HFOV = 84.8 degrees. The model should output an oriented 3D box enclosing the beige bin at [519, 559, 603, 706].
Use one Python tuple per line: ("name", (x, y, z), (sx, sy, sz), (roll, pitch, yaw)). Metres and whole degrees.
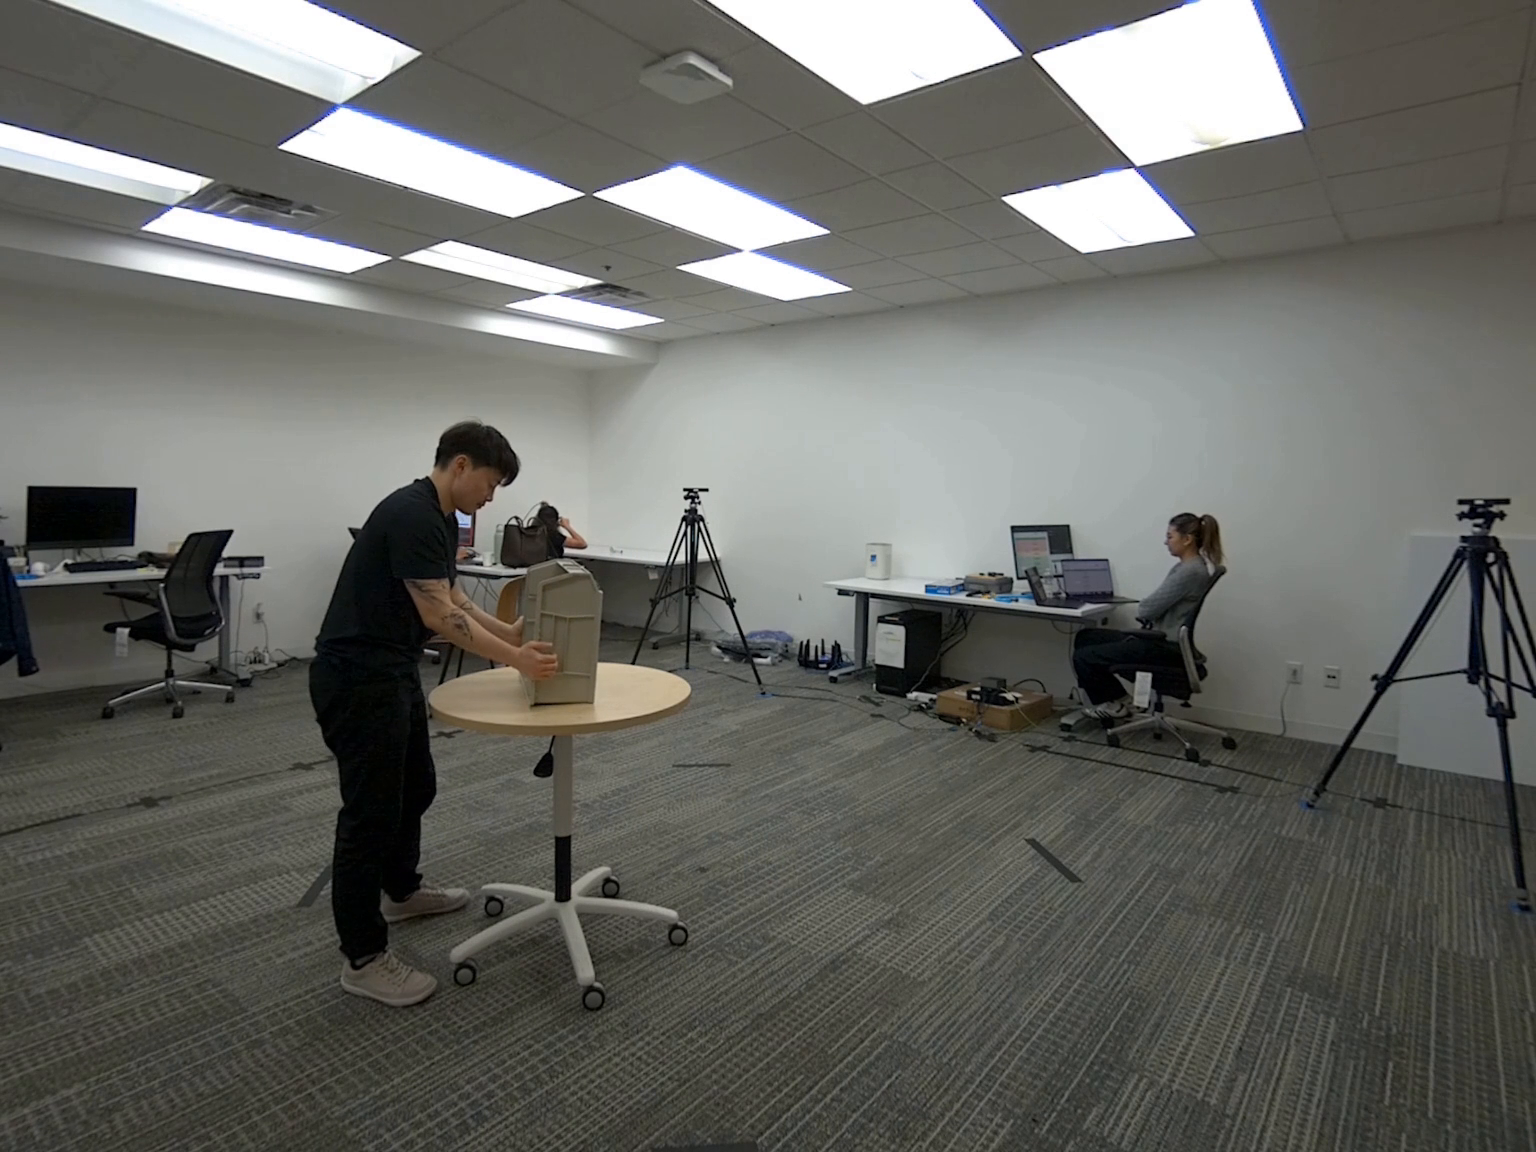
("beige bin", (-0.636, 0.155, 2.535), (0.185, 0.377, 0.432), (5, 3, -20))
